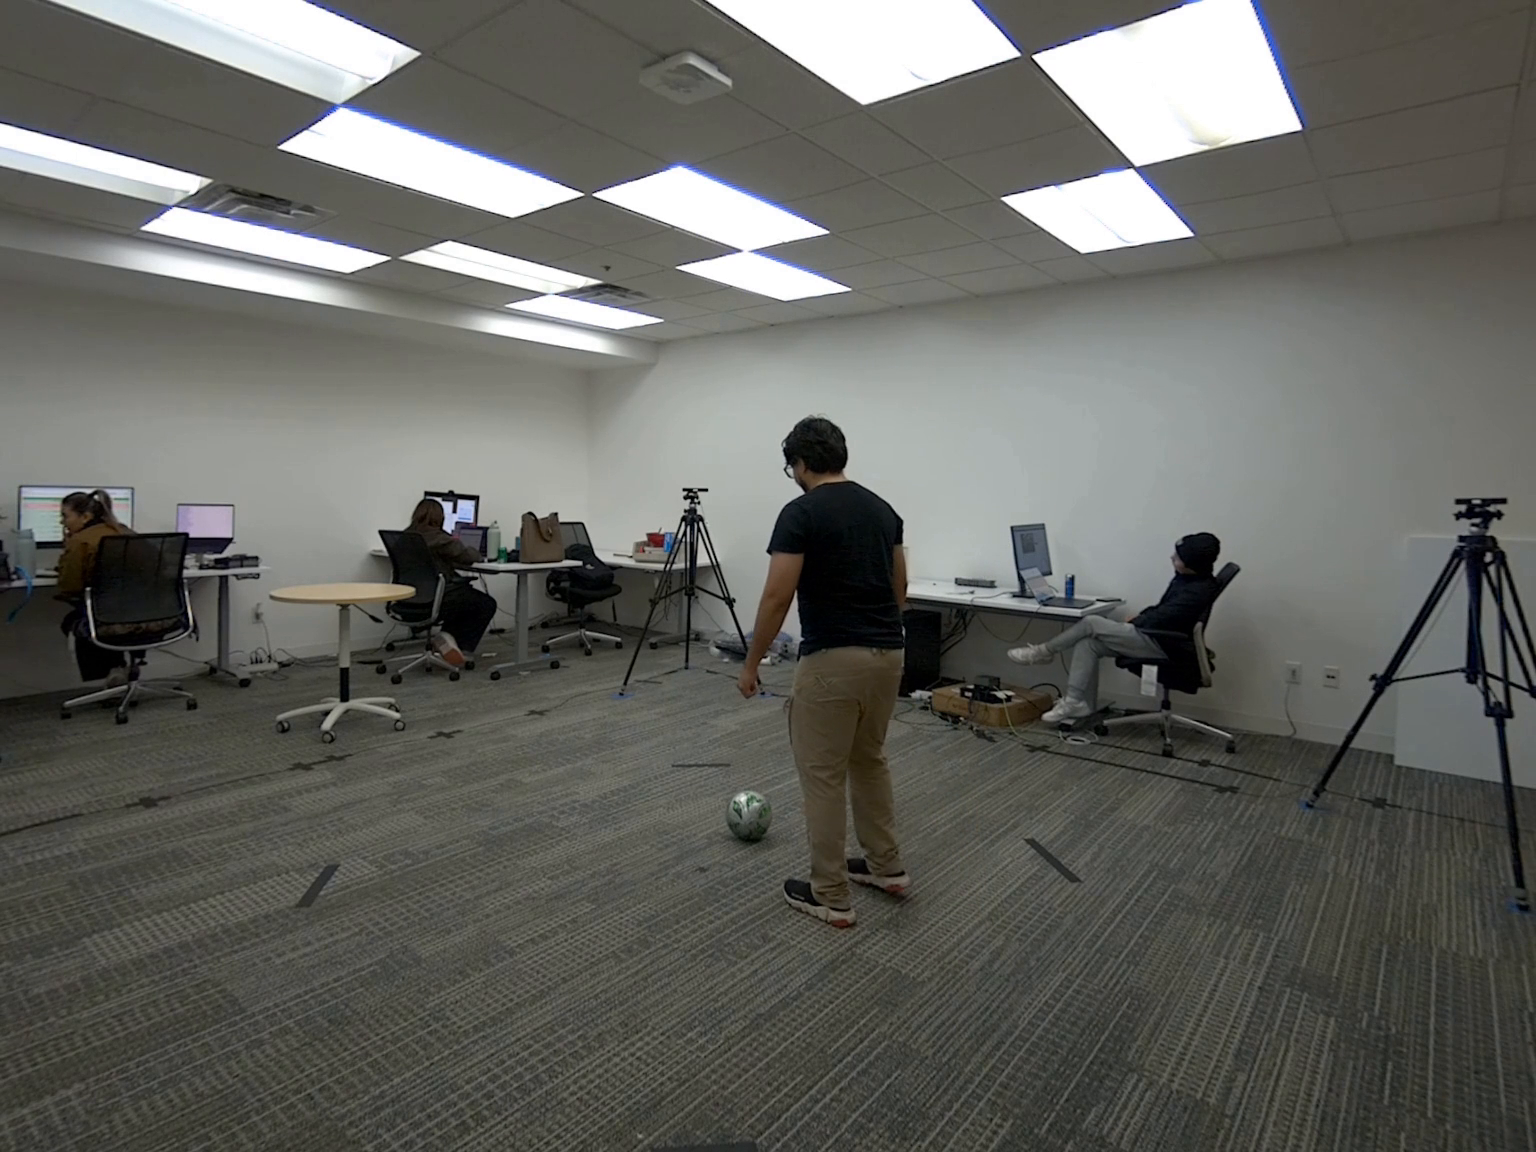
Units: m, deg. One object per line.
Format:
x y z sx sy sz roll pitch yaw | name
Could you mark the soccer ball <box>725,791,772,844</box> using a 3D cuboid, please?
-0.085 0.947 3.397 0.187 0.187 0.188 1 4 -2 | soccer ball
